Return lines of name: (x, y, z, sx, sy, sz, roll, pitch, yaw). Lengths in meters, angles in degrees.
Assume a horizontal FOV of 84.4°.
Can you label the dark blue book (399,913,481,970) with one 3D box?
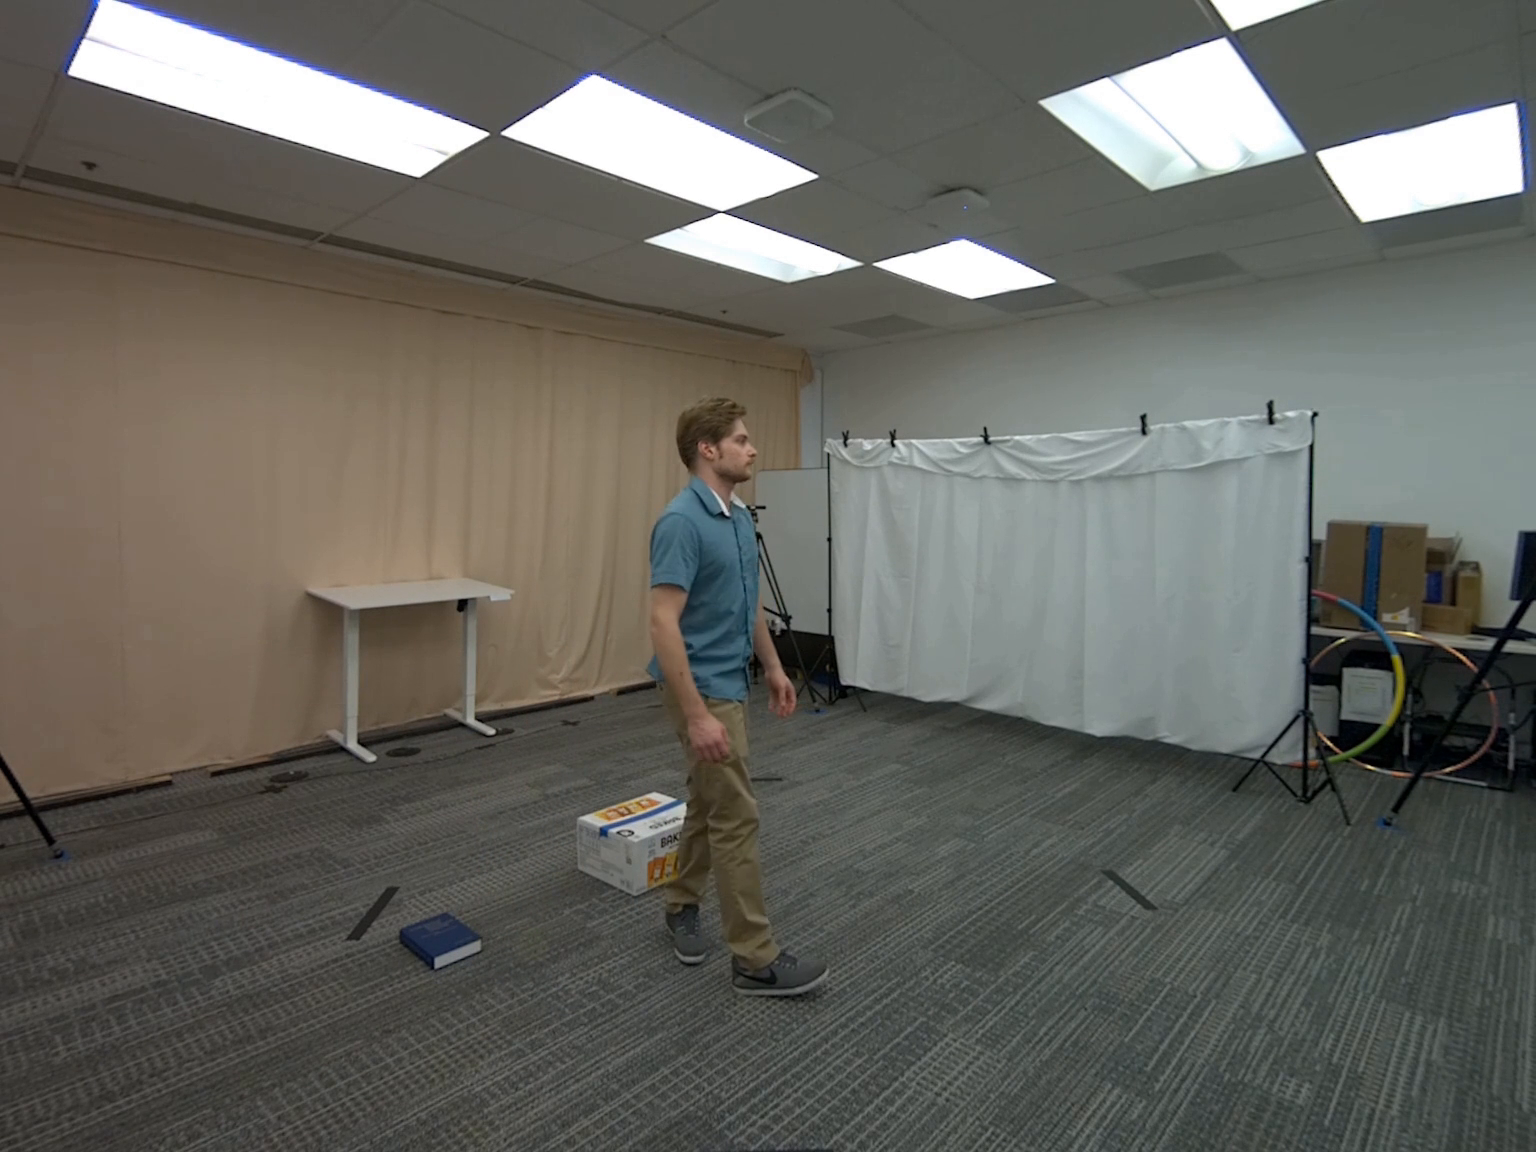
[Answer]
dark blue book: (-1.038, 1.157, 2.666, 0.253, 0.045, 0.158, 3, 5, 44)
